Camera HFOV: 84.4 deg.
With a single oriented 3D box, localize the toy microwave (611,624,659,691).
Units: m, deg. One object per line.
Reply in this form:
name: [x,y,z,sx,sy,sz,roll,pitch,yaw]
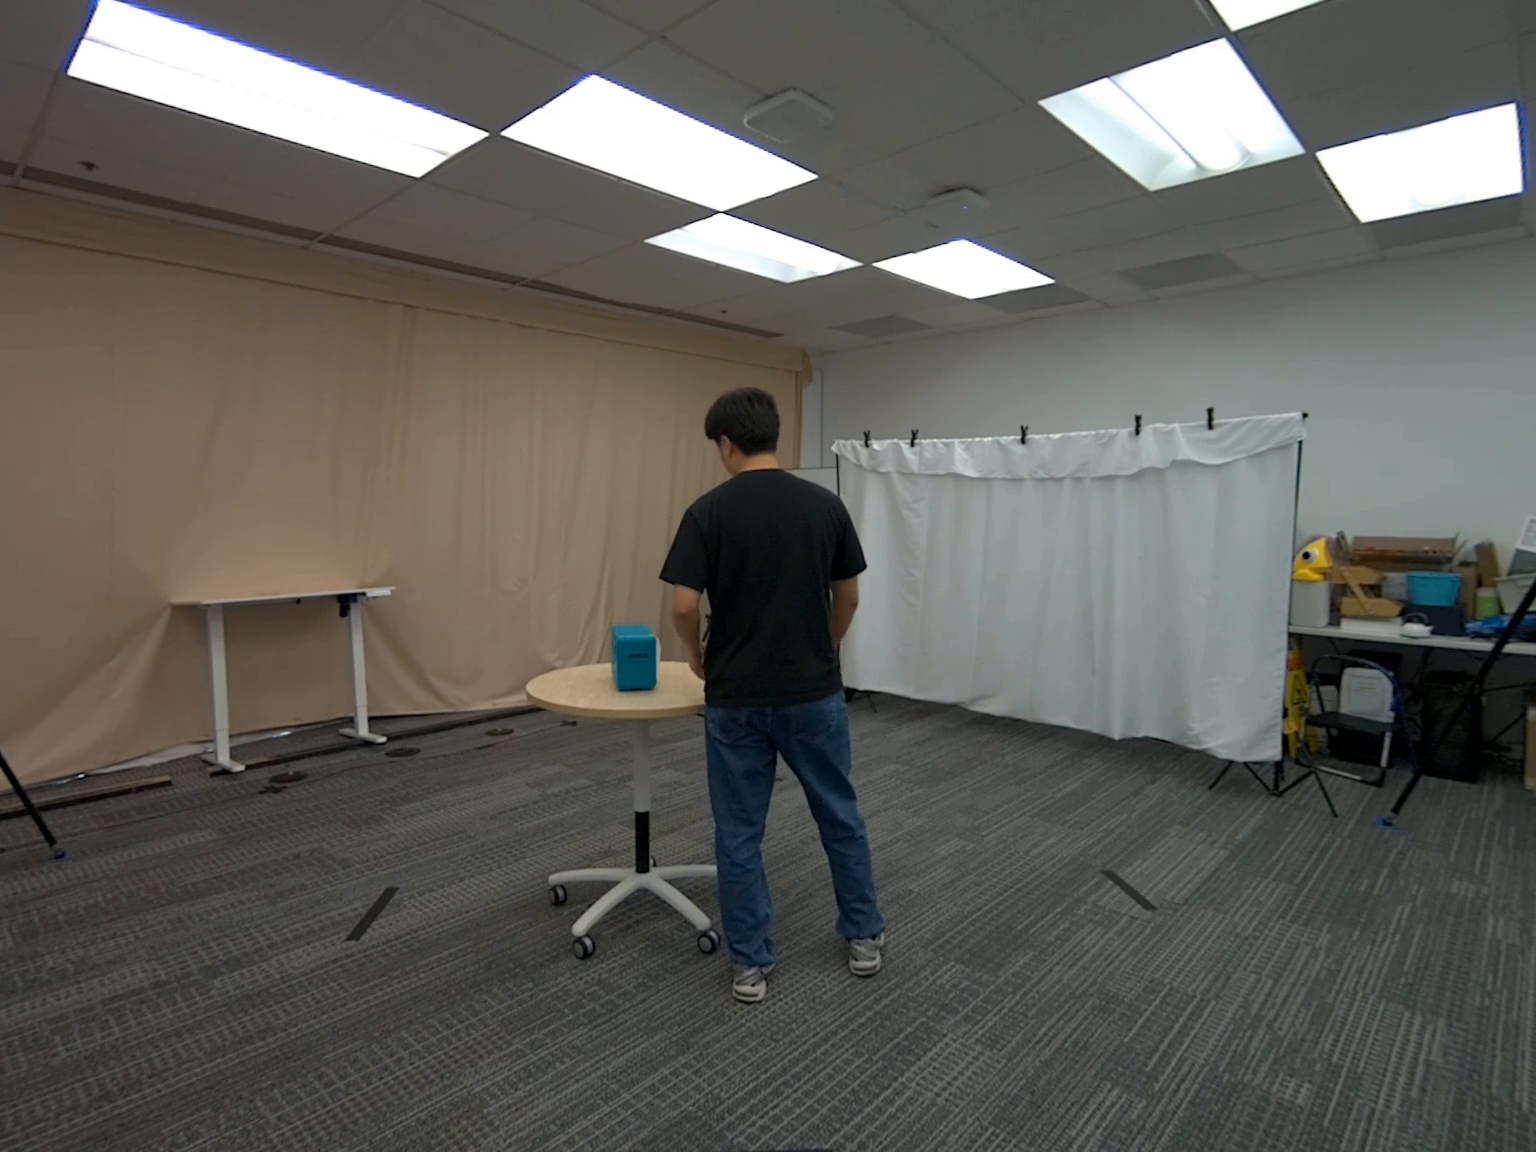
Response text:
toy microwave: [-0.447,0.270,2.845,0.151,0.184,0.289,0,4,-10]
